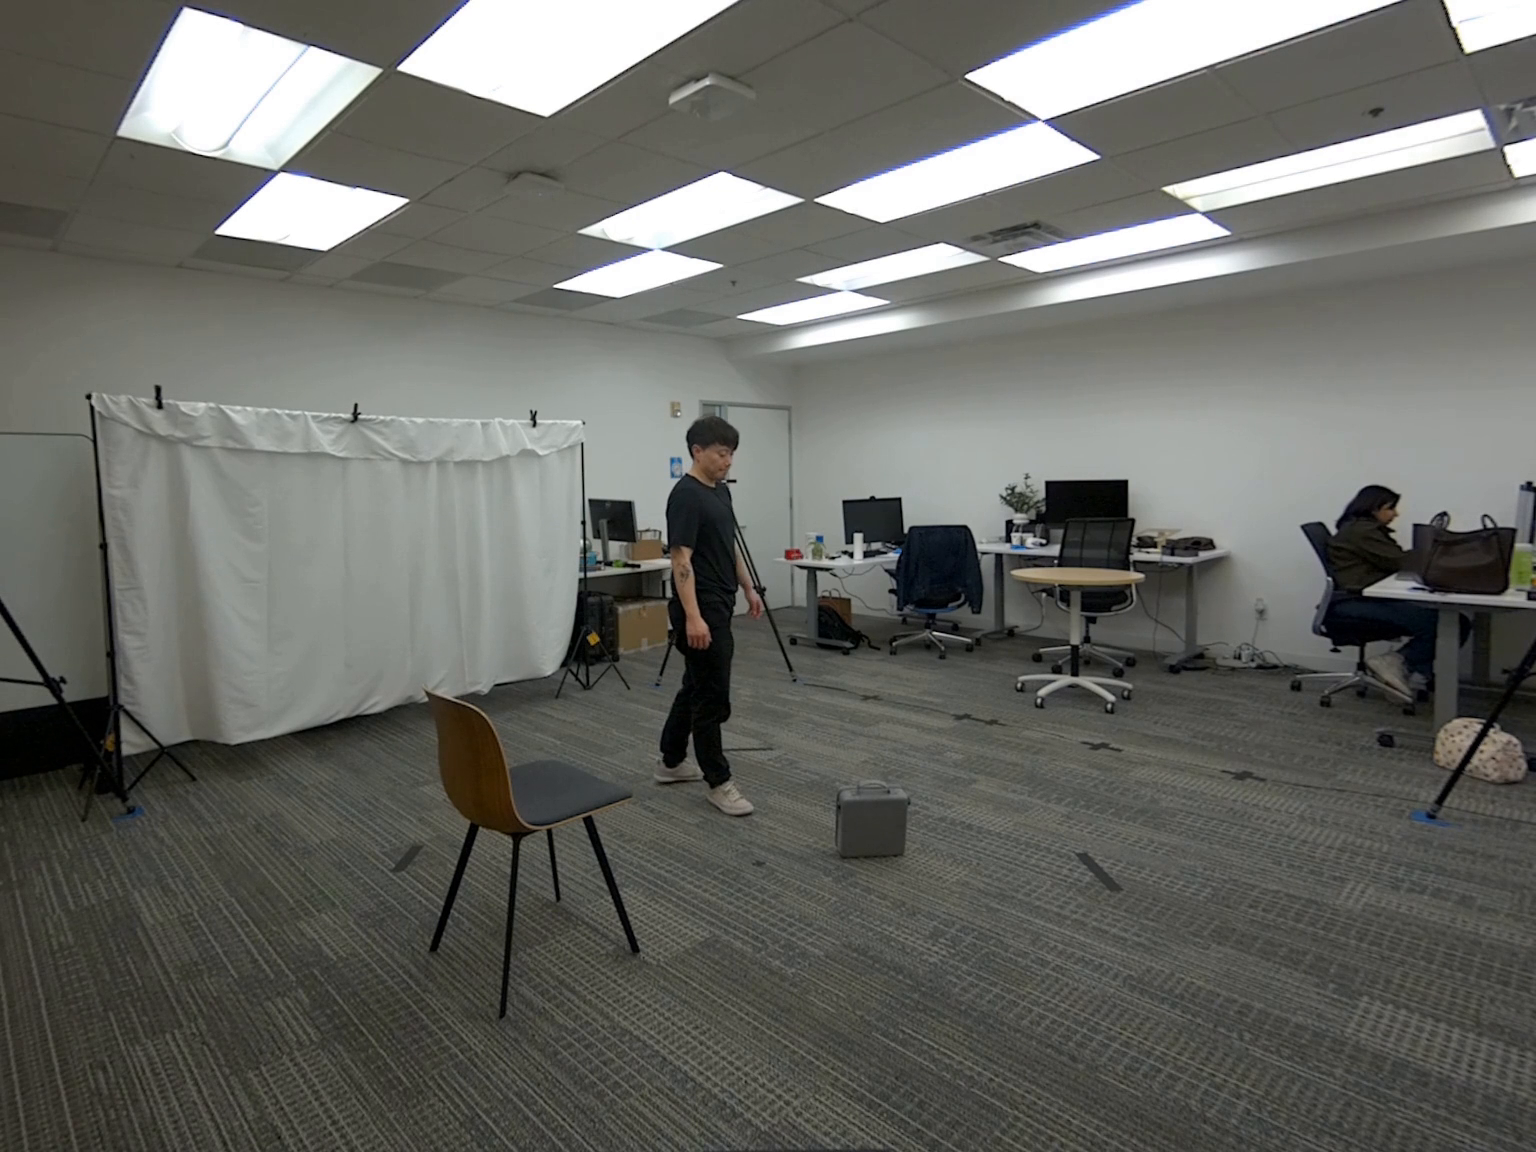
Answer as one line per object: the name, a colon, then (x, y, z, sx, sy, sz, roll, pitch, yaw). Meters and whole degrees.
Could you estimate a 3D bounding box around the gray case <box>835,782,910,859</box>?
gray case: (0.388, 0.898, 3.157, 0.256, 0.258, 0.106, -2, 11, -3)
